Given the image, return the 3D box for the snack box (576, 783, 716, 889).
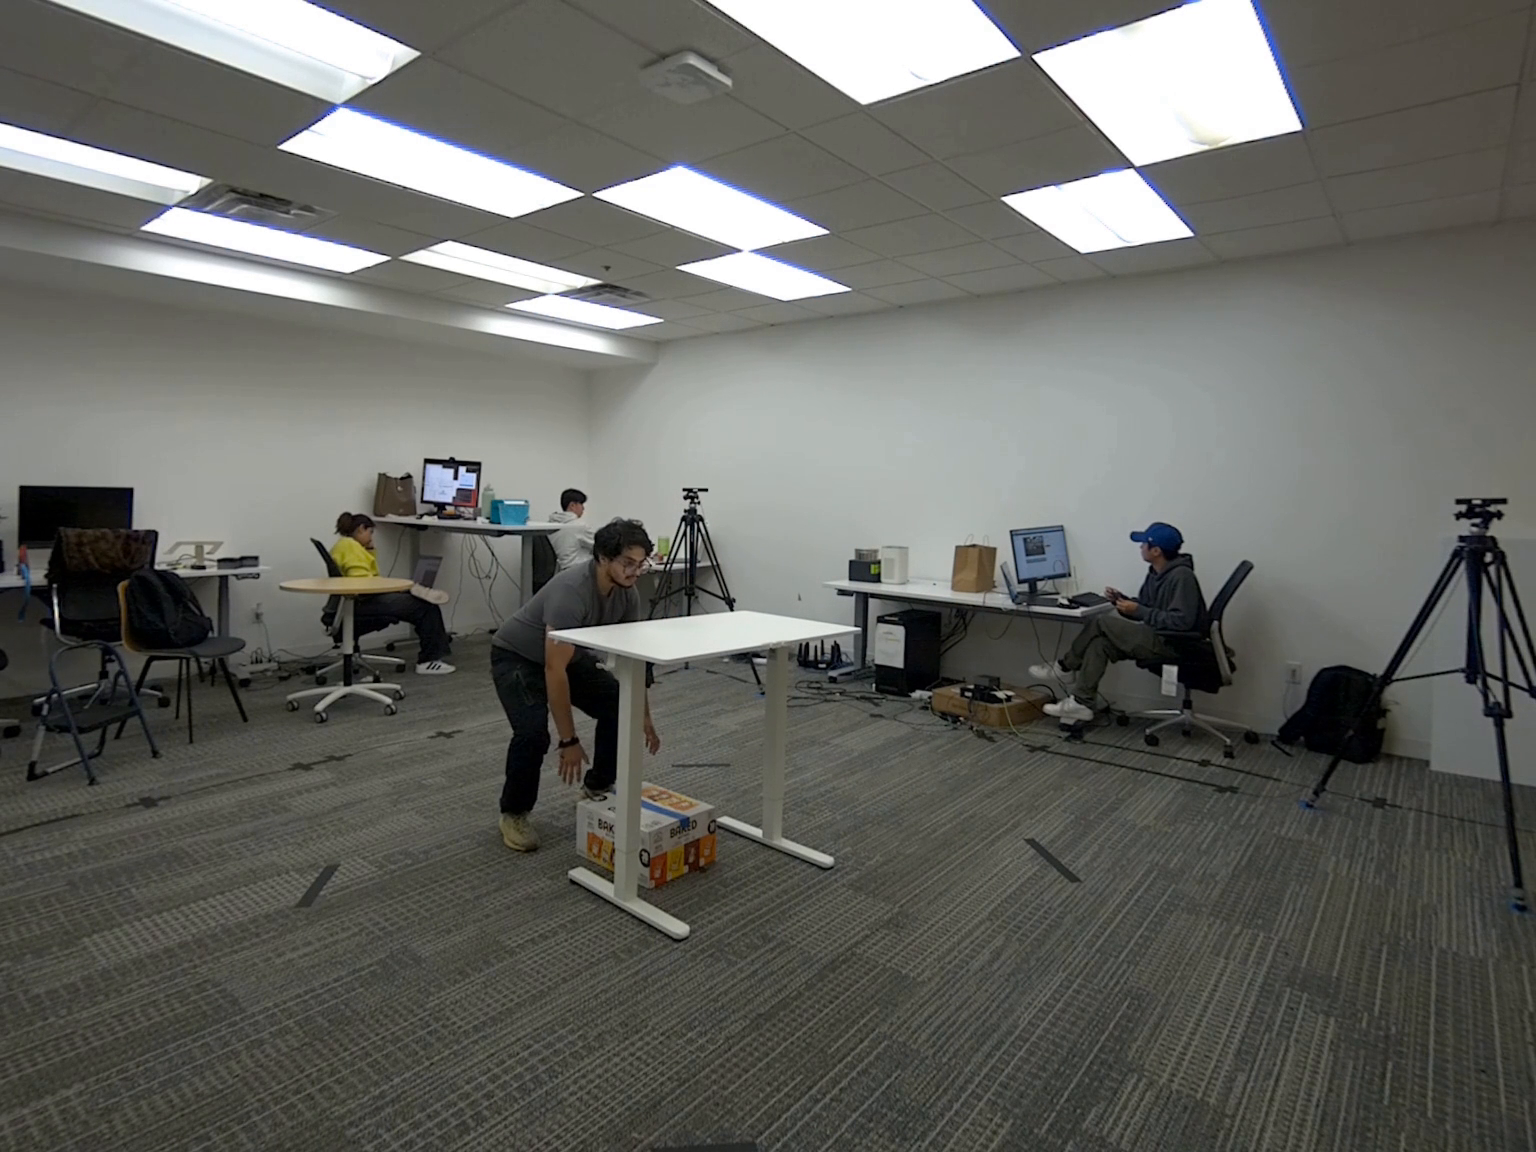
[{"bbox_3d":[-0.467,0.958,3.189,0.419,0.205,0.330,5,6,41],"label":"snack box"}]
